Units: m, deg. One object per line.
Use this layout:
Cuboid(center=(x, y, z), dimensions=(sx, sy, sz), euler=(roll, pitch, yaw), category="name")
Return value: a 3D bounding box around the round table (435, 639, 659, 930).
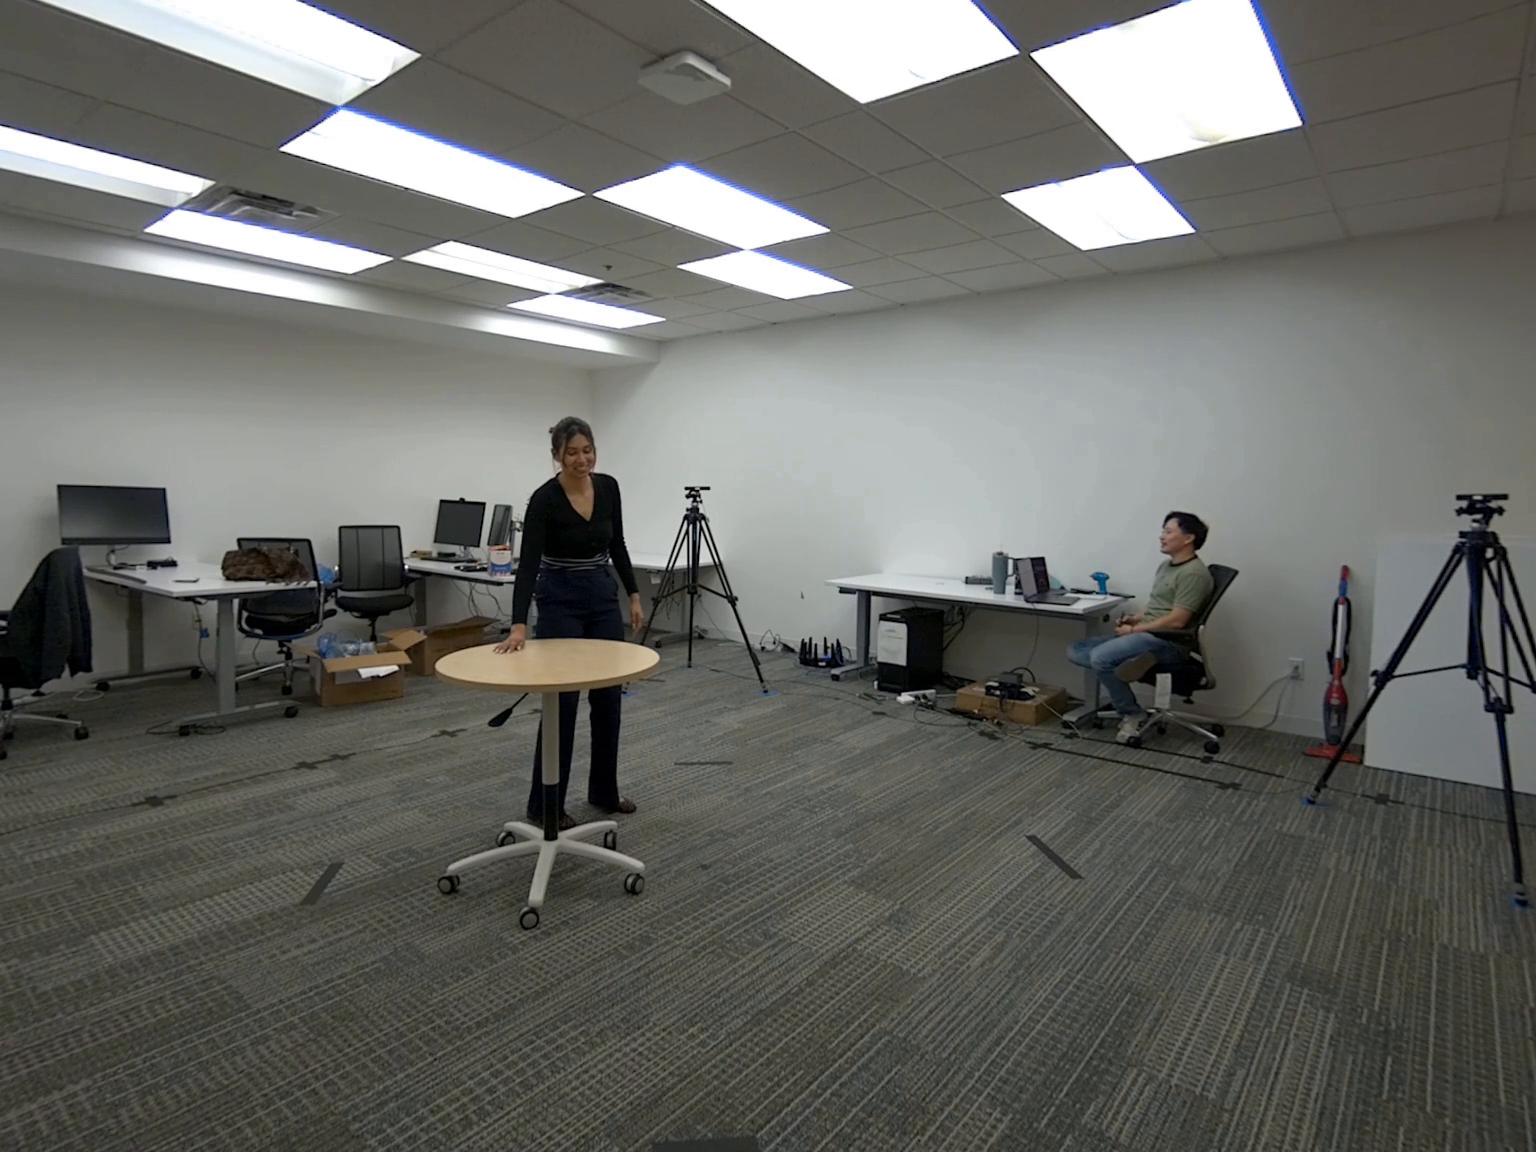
Cuboid(center=(-0.778, 0.681, 2.997), dimensions=(0.763, 0.791, 0.768), euler=(0, 4, -2), category="round table")
